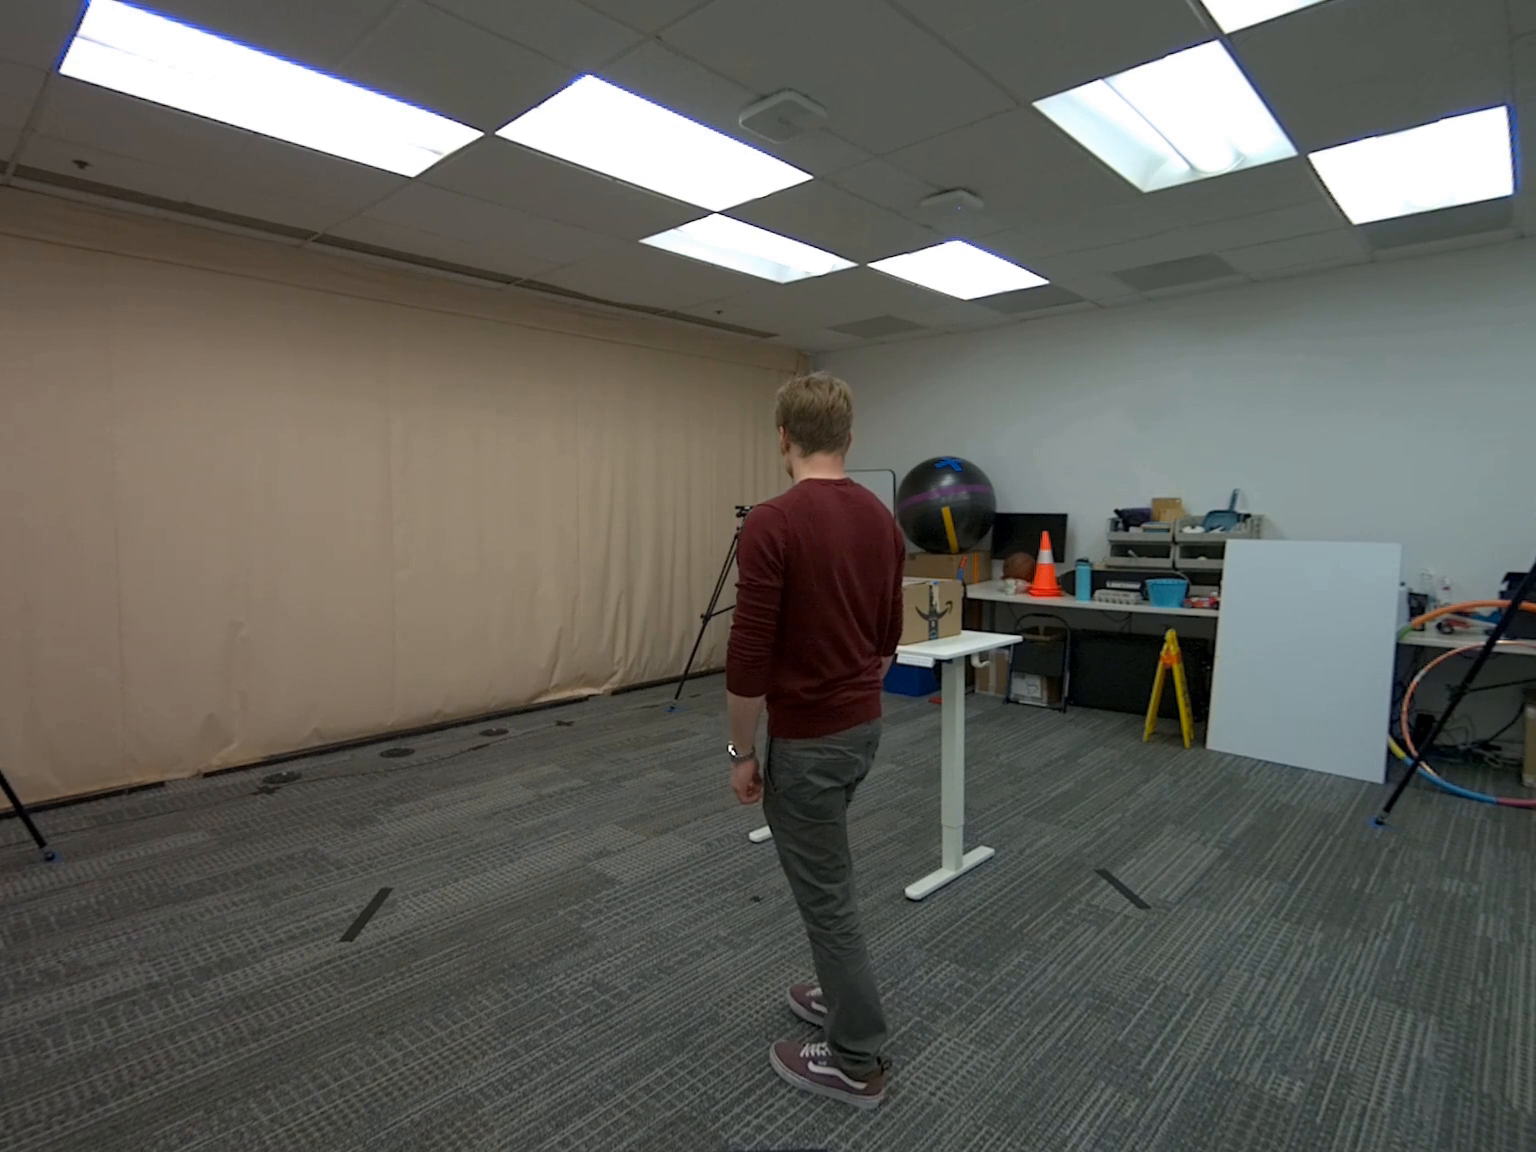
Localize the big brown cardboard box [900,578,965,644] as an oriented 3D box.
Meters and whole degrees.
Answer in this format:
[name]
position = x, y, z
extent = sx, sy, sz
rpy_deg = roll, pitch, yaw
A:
[big brown cardboard box]
position = 0.413, 0.118, 3.371
extent = 0.609, 0.232, 0.405
rpy_deg = 4, 6, 42
